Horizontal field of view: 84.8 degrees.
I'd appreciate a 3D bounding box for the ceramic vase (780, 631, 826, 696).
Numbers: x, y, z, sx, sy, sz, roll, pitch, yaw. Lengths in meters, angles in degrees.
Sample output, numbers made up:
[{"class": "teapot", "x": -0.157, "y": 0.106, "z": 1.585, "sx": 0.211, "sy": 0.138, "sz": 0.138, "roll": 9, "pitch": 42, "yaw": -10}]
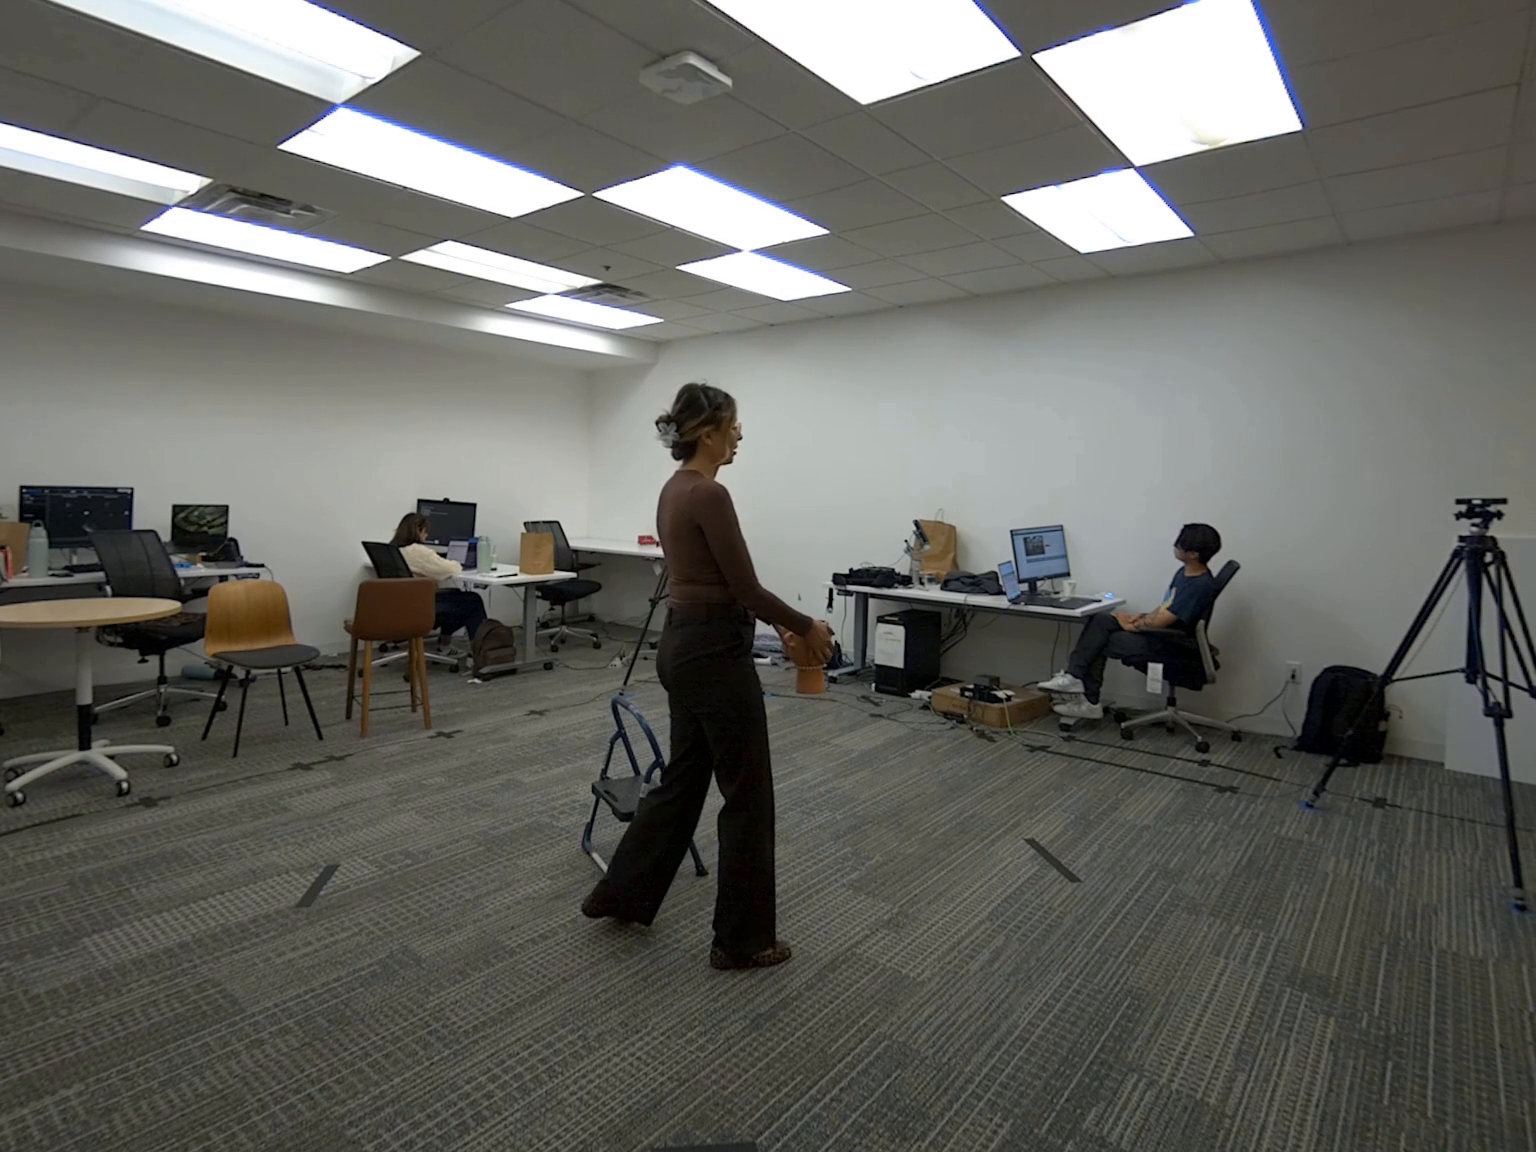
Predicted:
[{"class": "ceramic vase", "x": 0.117, "y": 0.254, "z": 2.679, "sx": 0.158, "sy": 0.219, "sz": 0.135, "roll": -2, "pitch": 4, "yaw": -3}]
